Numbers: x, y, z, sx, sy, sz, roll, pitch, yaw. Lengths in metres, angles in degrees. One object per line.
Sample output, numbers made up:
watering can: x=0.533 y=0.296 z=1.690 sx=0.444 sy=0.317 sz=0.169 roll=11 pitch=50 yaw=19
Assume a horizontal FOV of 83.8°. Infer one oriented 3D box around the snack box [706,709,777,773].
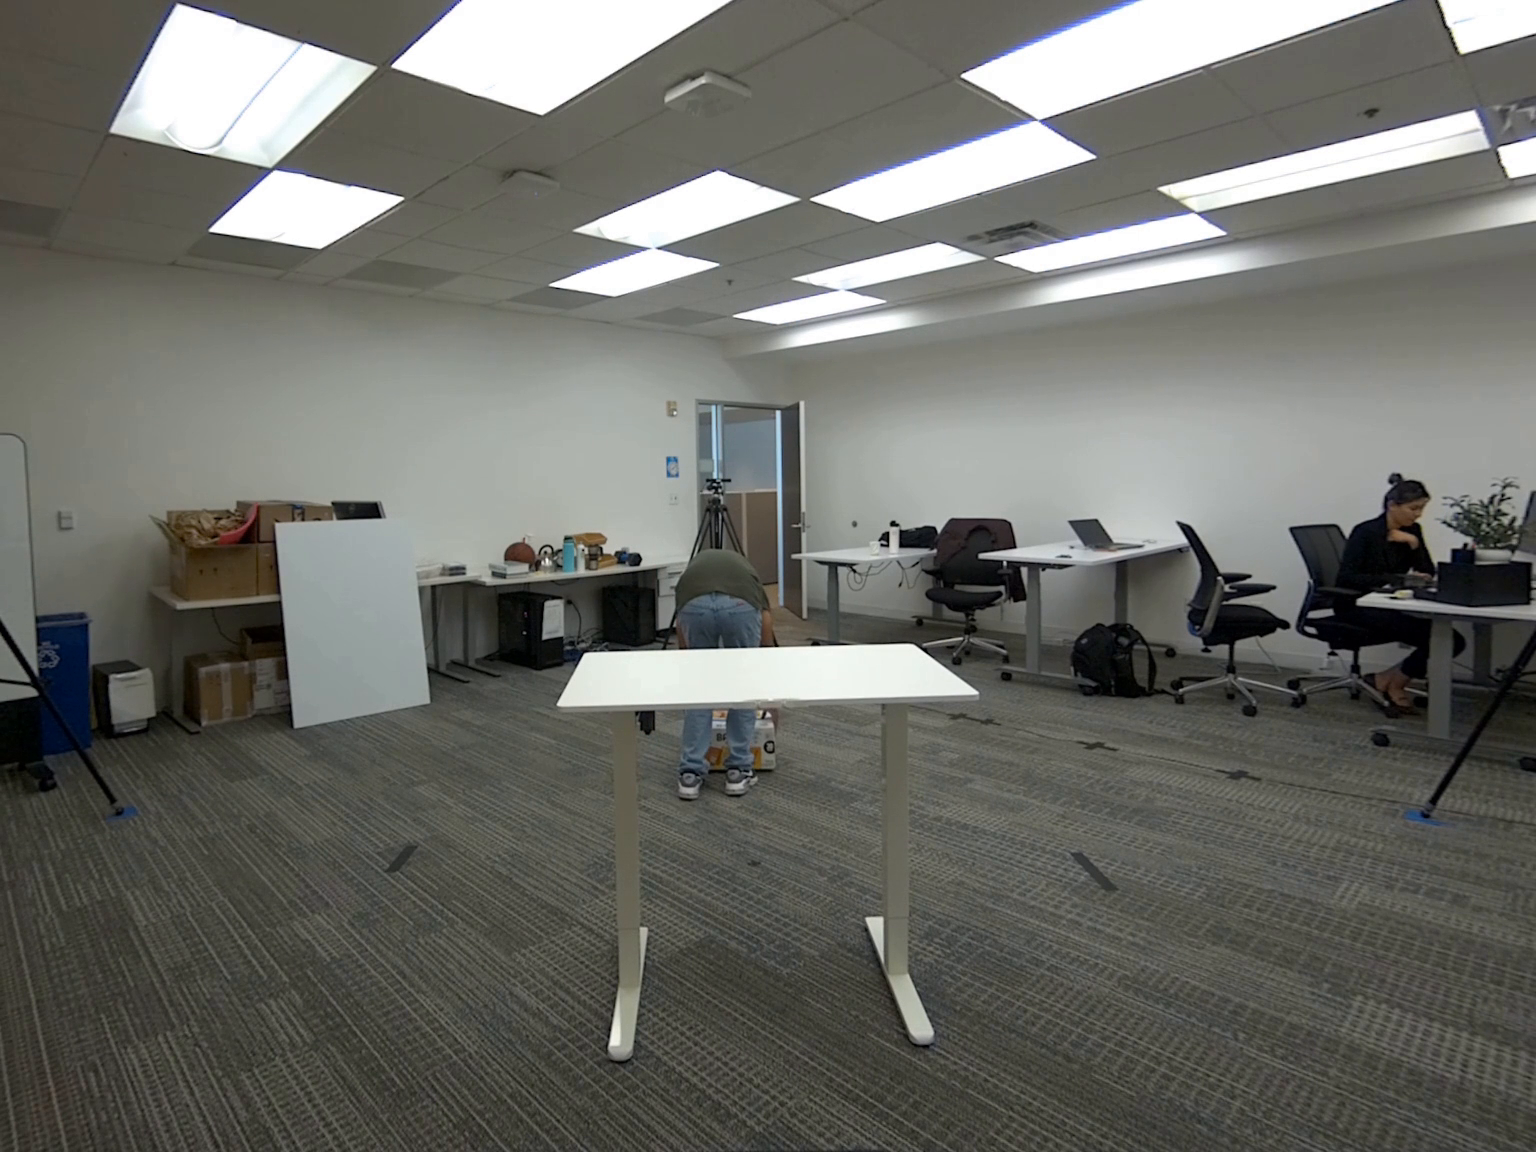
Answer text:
snack box: x=-0.170 y=0.811 z=4.232 sx=0.405 sy=0.205 sz=0.341 roll=-1 pitch=3 yaw=0
